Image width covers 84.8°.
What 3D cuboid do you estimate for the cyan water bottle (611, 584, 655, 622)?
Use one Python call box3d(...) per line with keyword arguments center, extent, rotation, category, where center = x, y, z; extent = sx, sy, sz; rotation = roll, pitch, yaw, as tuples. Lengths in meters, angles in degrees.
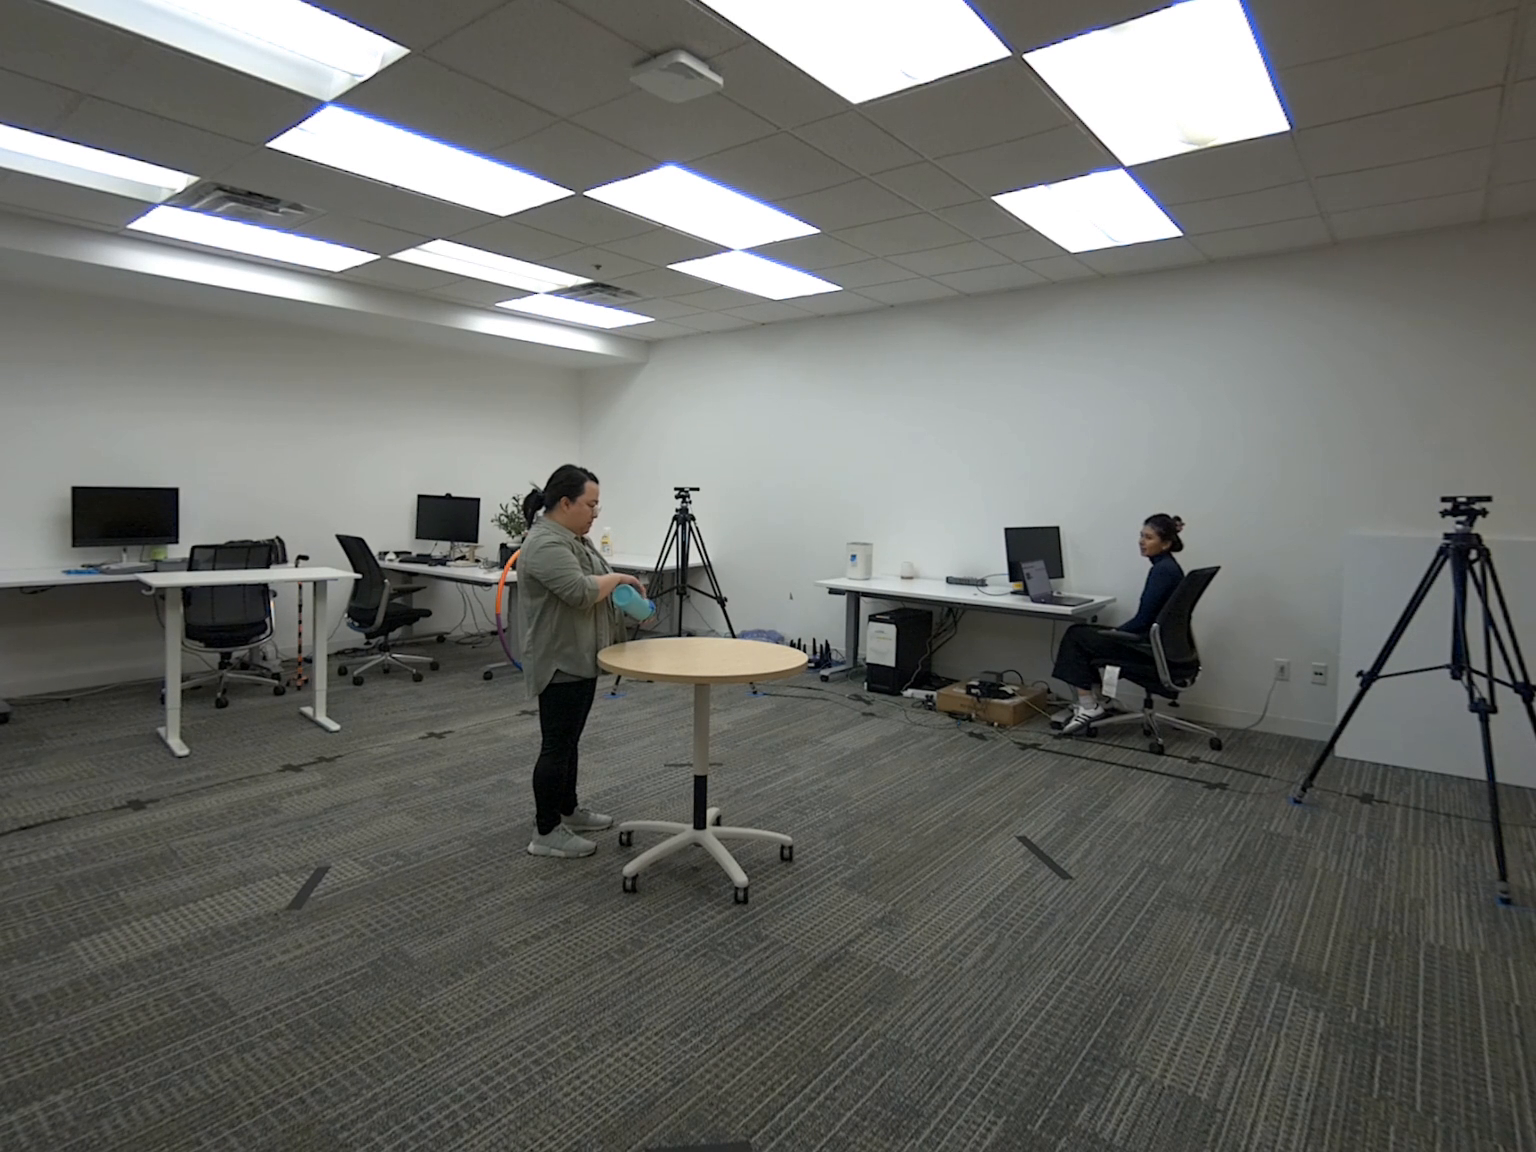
box3d(center=(-0.529, 0.113, 3.327), extent=(0.094, 0.093, 0.275), rotation=(2, -17, 13), category="cyan water bottle")
